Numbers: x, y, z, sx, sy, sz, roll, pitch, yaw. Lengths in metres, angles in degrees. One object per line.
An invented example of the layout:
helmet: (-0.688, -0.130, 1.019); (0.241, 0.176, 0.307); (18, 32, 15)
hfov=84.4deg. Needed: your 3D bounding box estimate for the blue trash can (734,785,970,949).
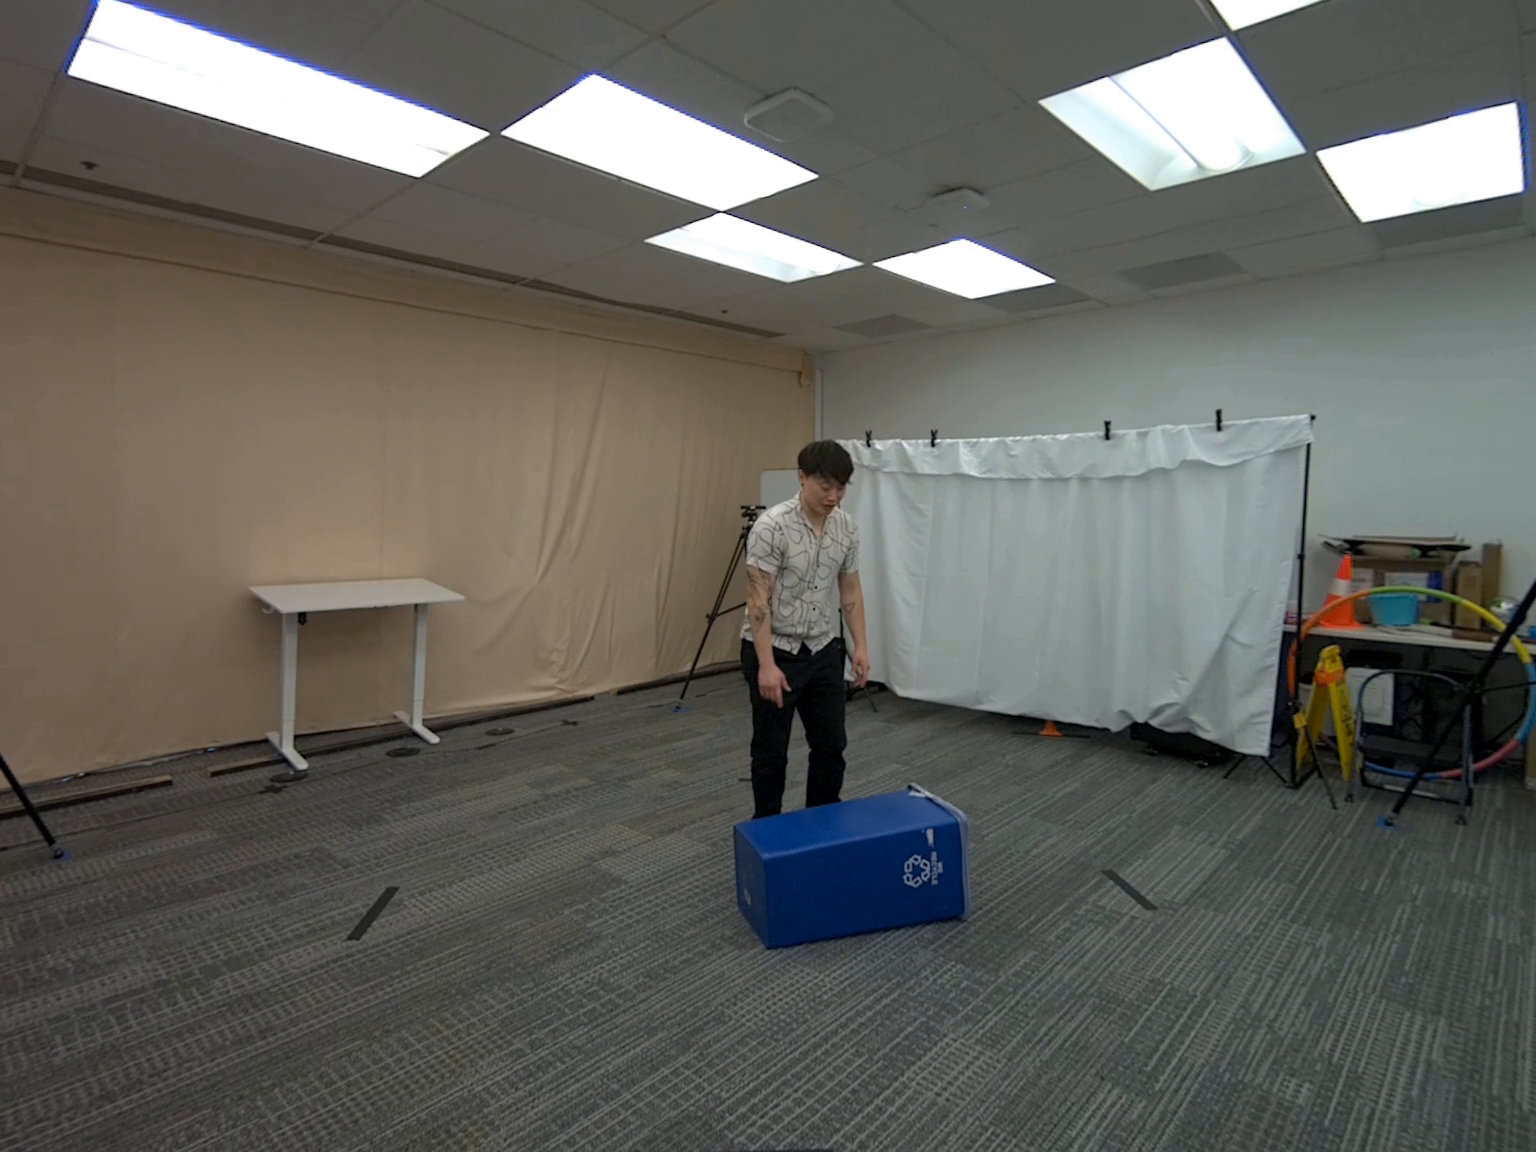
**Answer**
blue trash can: (0.274, 0.984, 2.873); (0.702, 0.373, 0.385); (-5, 4, -17)
